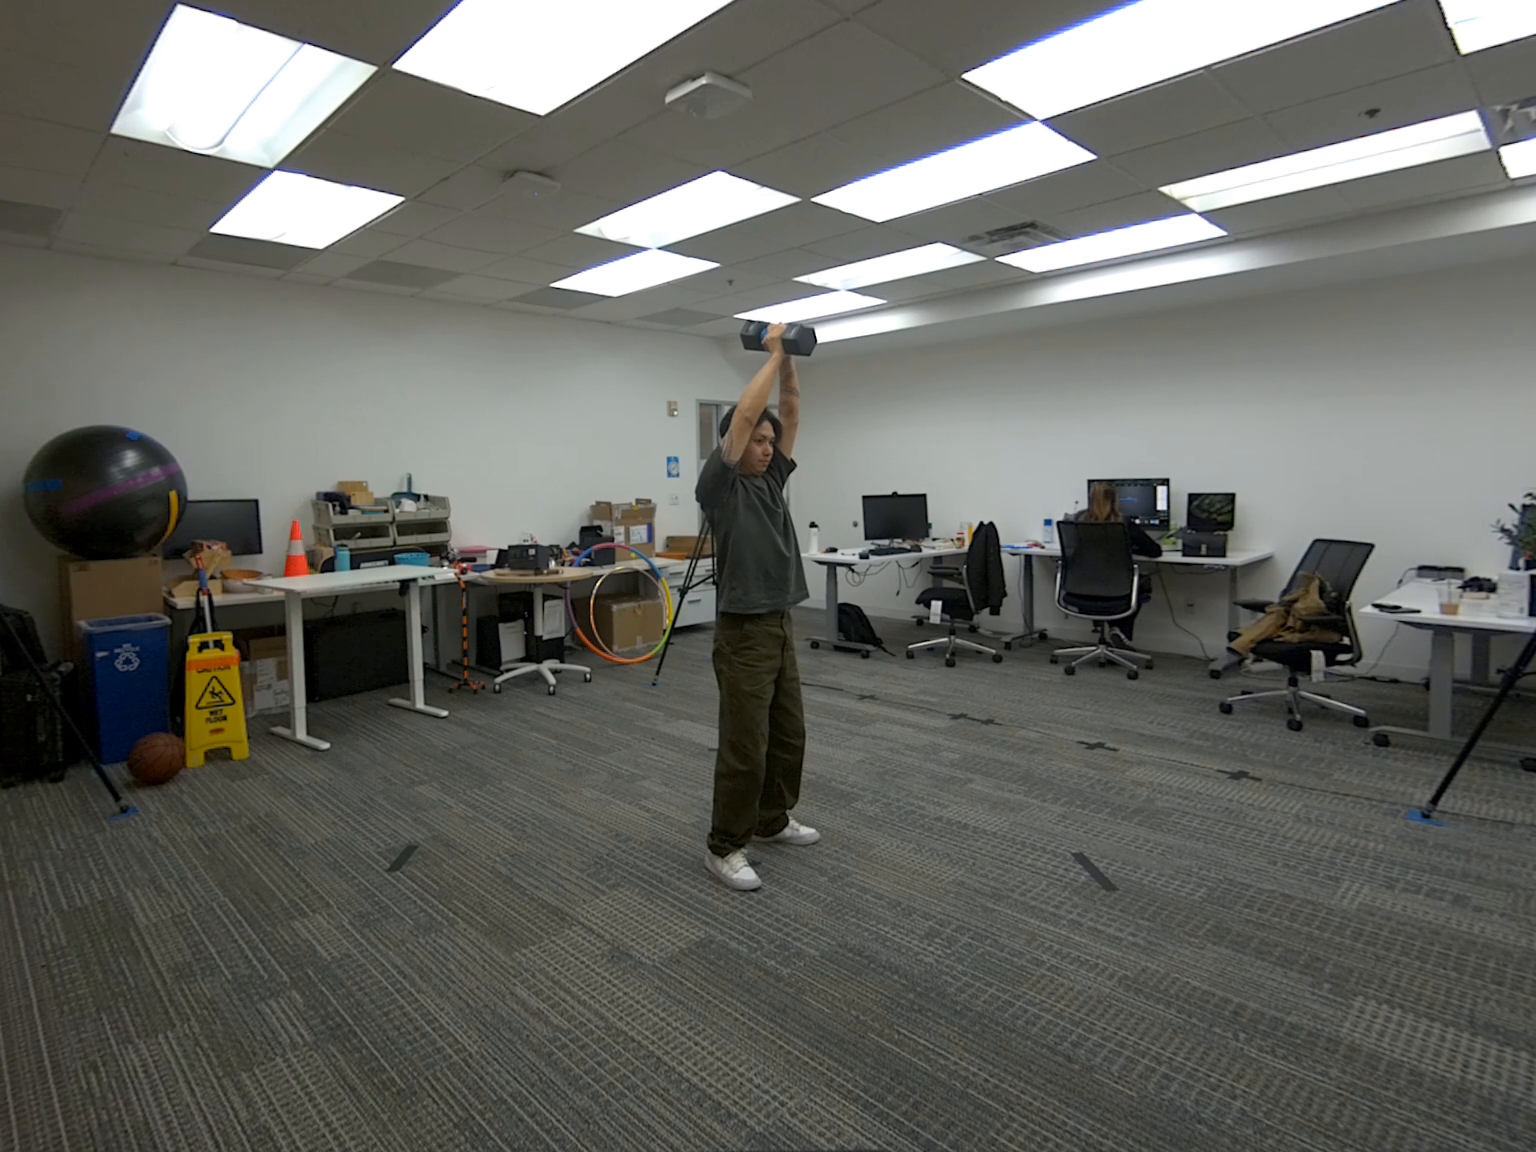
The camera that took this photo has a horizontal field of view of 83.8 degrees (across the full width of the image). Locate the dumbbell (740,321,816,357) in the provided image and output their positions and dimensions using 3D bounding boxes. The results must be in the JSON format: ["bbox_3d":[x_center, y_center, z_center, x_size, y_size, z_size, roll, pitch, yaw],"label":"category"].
[{"bbox_3d":[0.040,-0.849,3.018,0.304,0.123,0.104,22,-9,45],"label":"dumbbell"}]
